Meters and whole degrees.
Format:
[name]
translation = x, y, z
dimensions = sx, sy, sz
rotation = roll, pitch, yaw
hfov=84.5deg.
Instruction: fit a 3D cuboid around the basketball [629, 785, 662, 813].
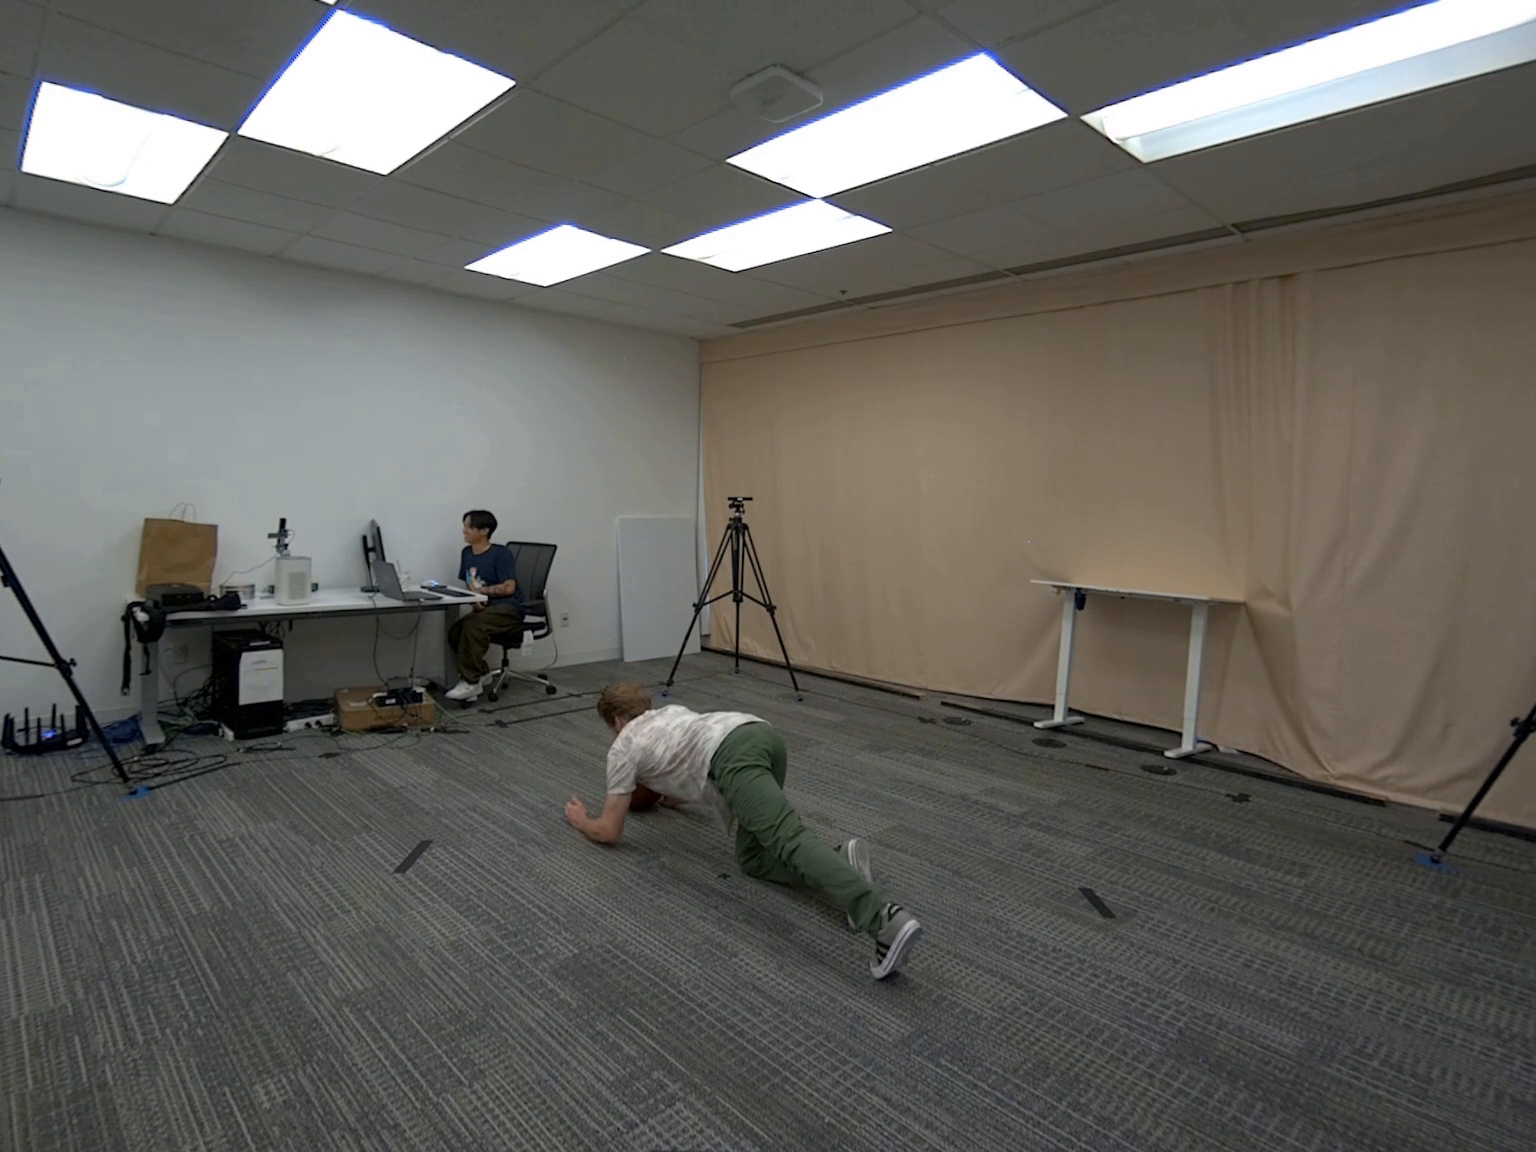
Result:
[basketball]
translation = -0.583, 0.916, 3.767
dimensions = 0.236, 0.235, 0.237
rotation = 1, 4, -1
